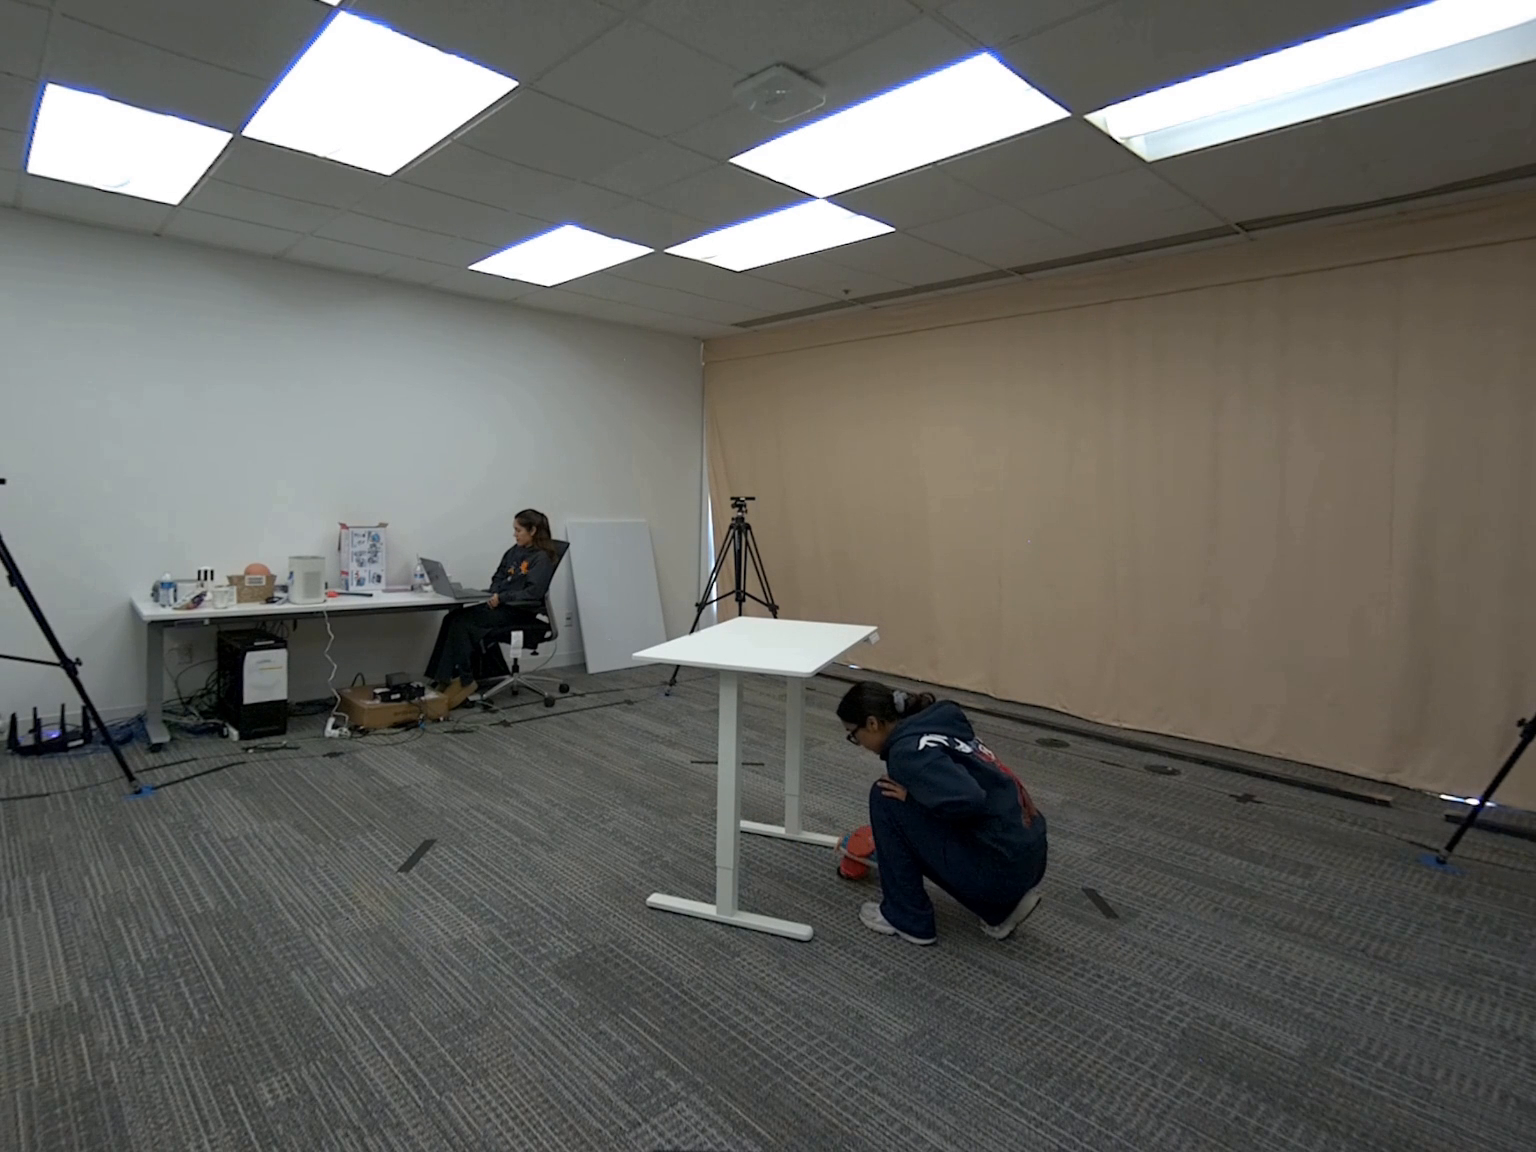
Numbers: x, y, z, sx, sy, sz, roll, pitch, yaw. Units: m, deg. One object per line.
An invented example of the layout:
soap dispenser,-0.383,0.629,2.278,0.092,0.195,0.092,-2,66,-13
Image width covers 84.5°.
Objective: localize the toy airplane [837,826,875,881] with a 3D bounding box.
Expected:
toy airplane,0.377,1.042,3.140,0.258,0.156,0.253,0,6,-6
